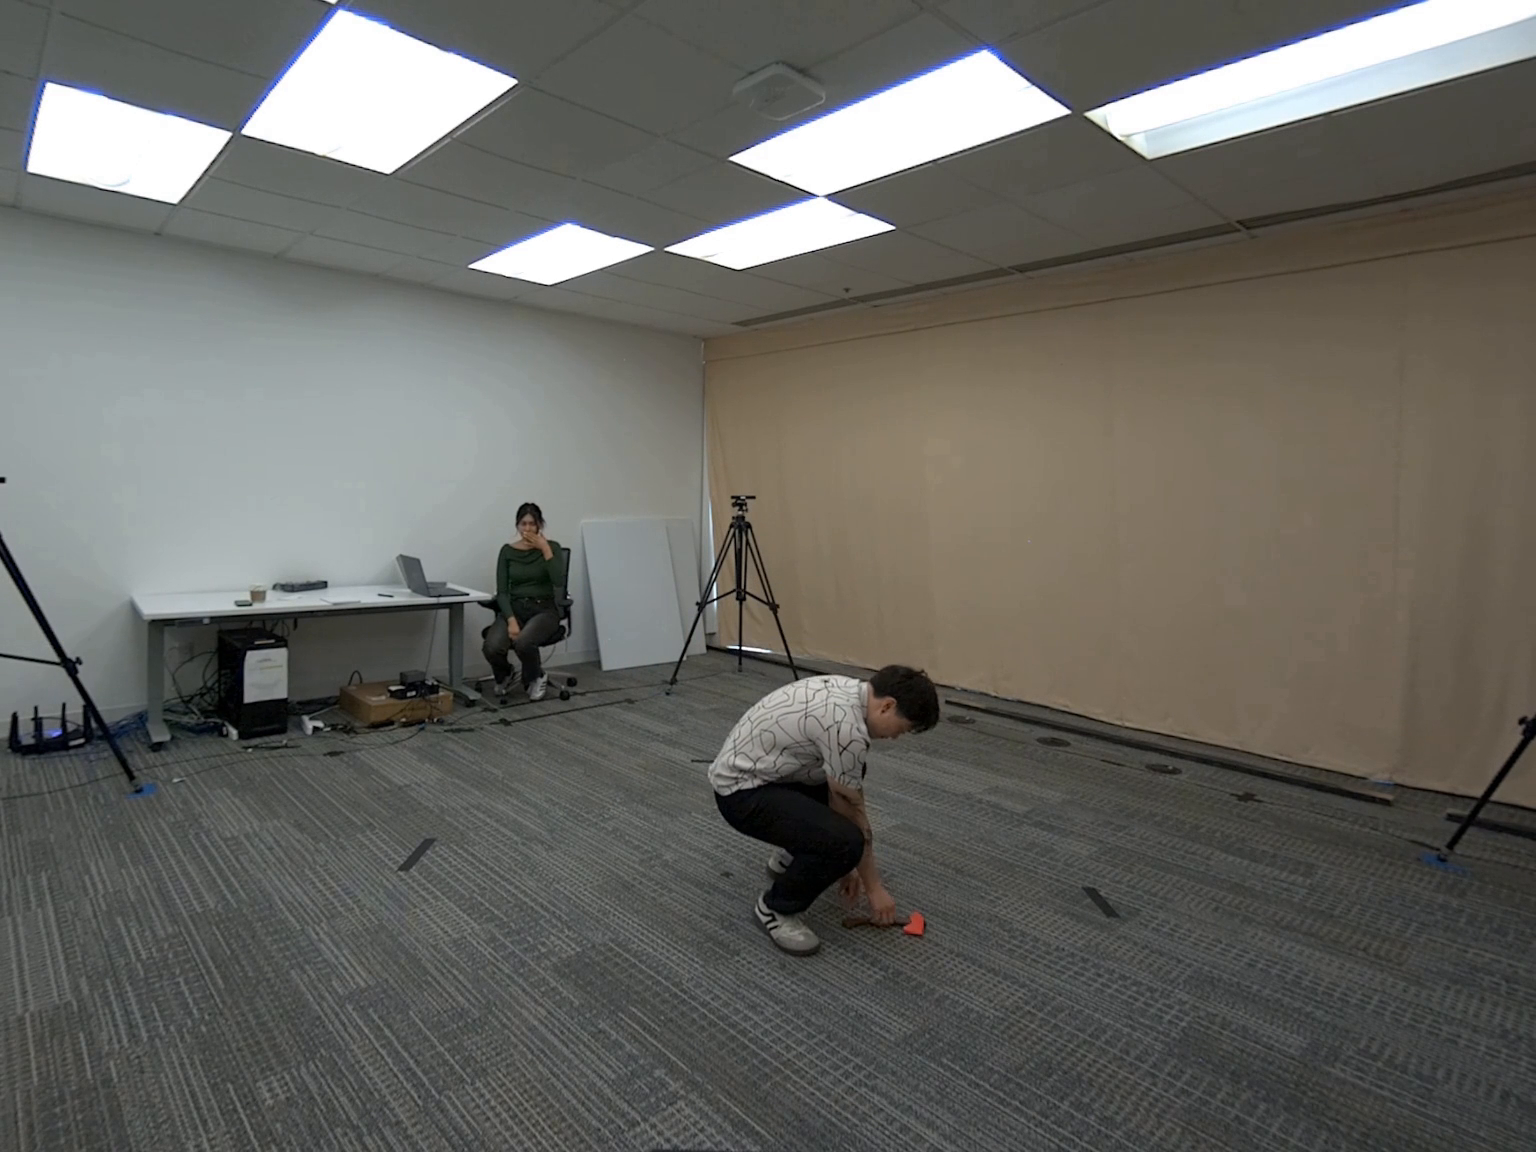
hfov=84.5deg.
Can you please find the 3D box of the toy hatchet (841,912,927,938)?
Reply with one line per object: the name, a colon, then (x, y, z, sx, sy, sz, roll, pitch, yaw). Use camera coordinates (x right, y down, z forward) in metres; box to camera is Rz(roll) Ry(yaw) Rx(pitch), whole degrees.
toy hatchet: (0.374, 1.132, 2.728, 0.267, 0.029, 0.133, -2, 9, -13)
